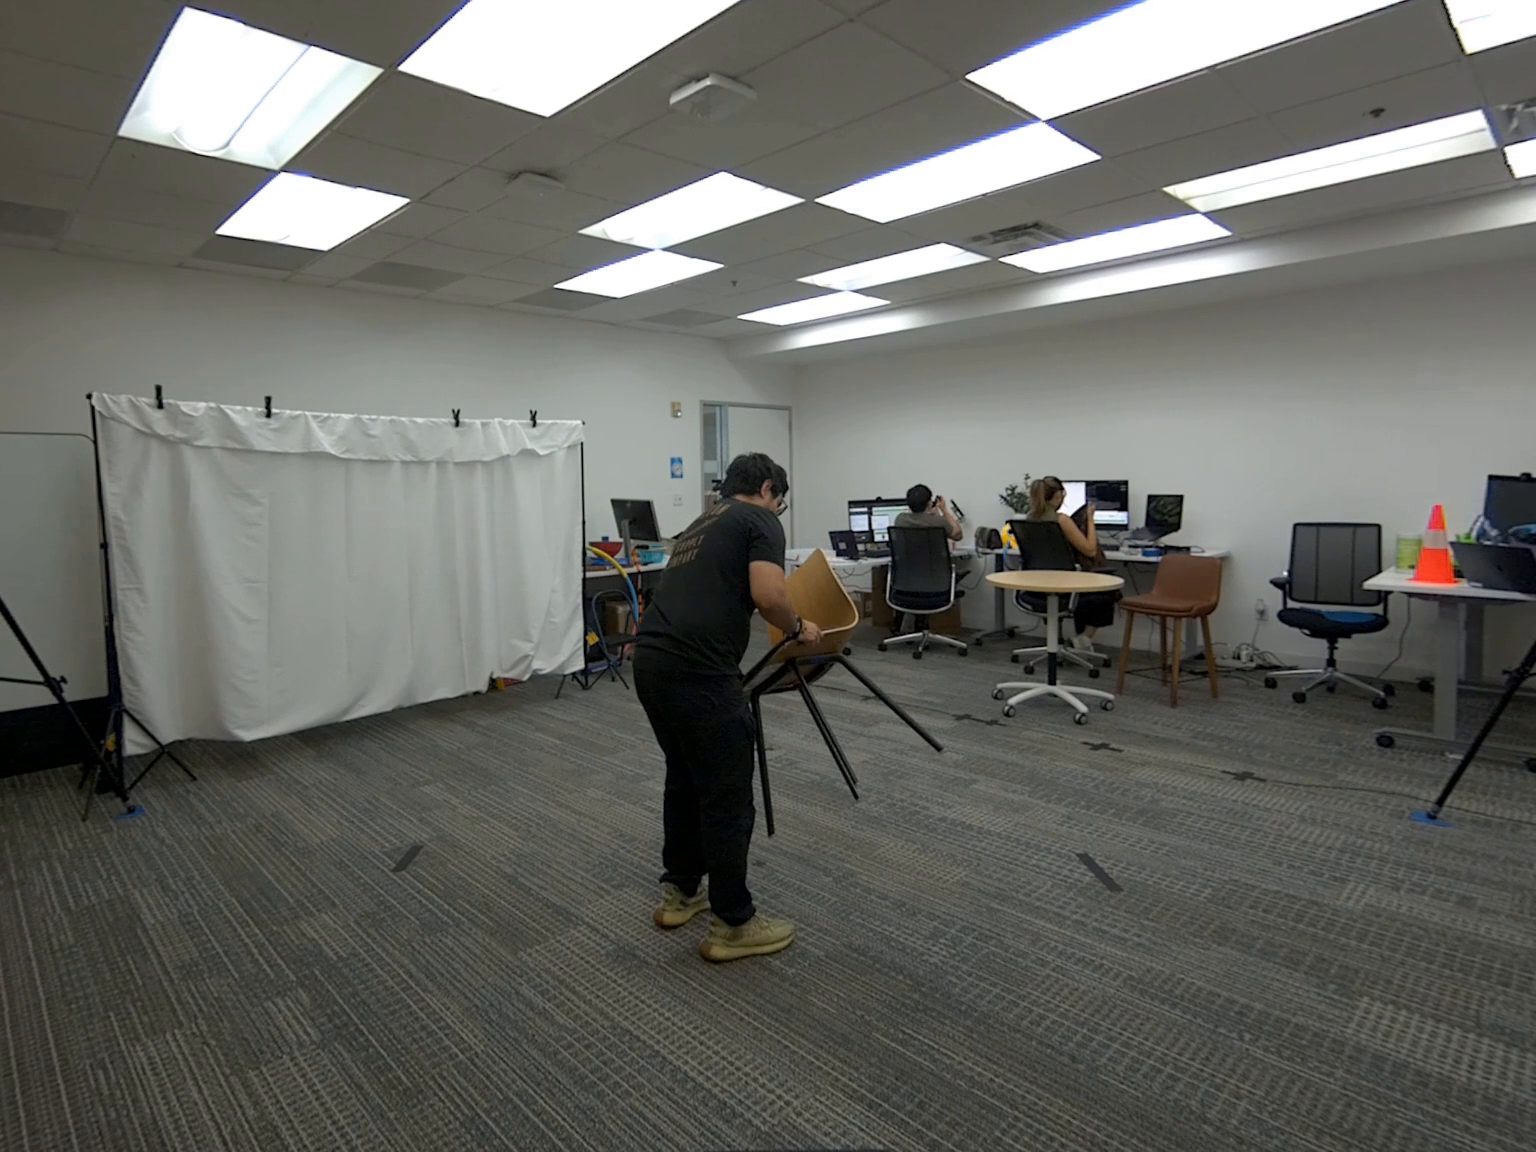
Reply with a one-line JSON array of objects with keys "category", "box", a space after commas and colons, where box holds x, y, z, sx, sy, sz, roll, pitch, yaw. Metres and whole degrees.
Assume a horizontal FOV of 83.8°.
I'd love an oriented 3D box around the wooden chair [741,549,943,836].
[{"category": "wooden chair", "box": [0.106, 0.345, 2.922, 0.508, 0.902, 0.478, -1, -32, -41]}]
